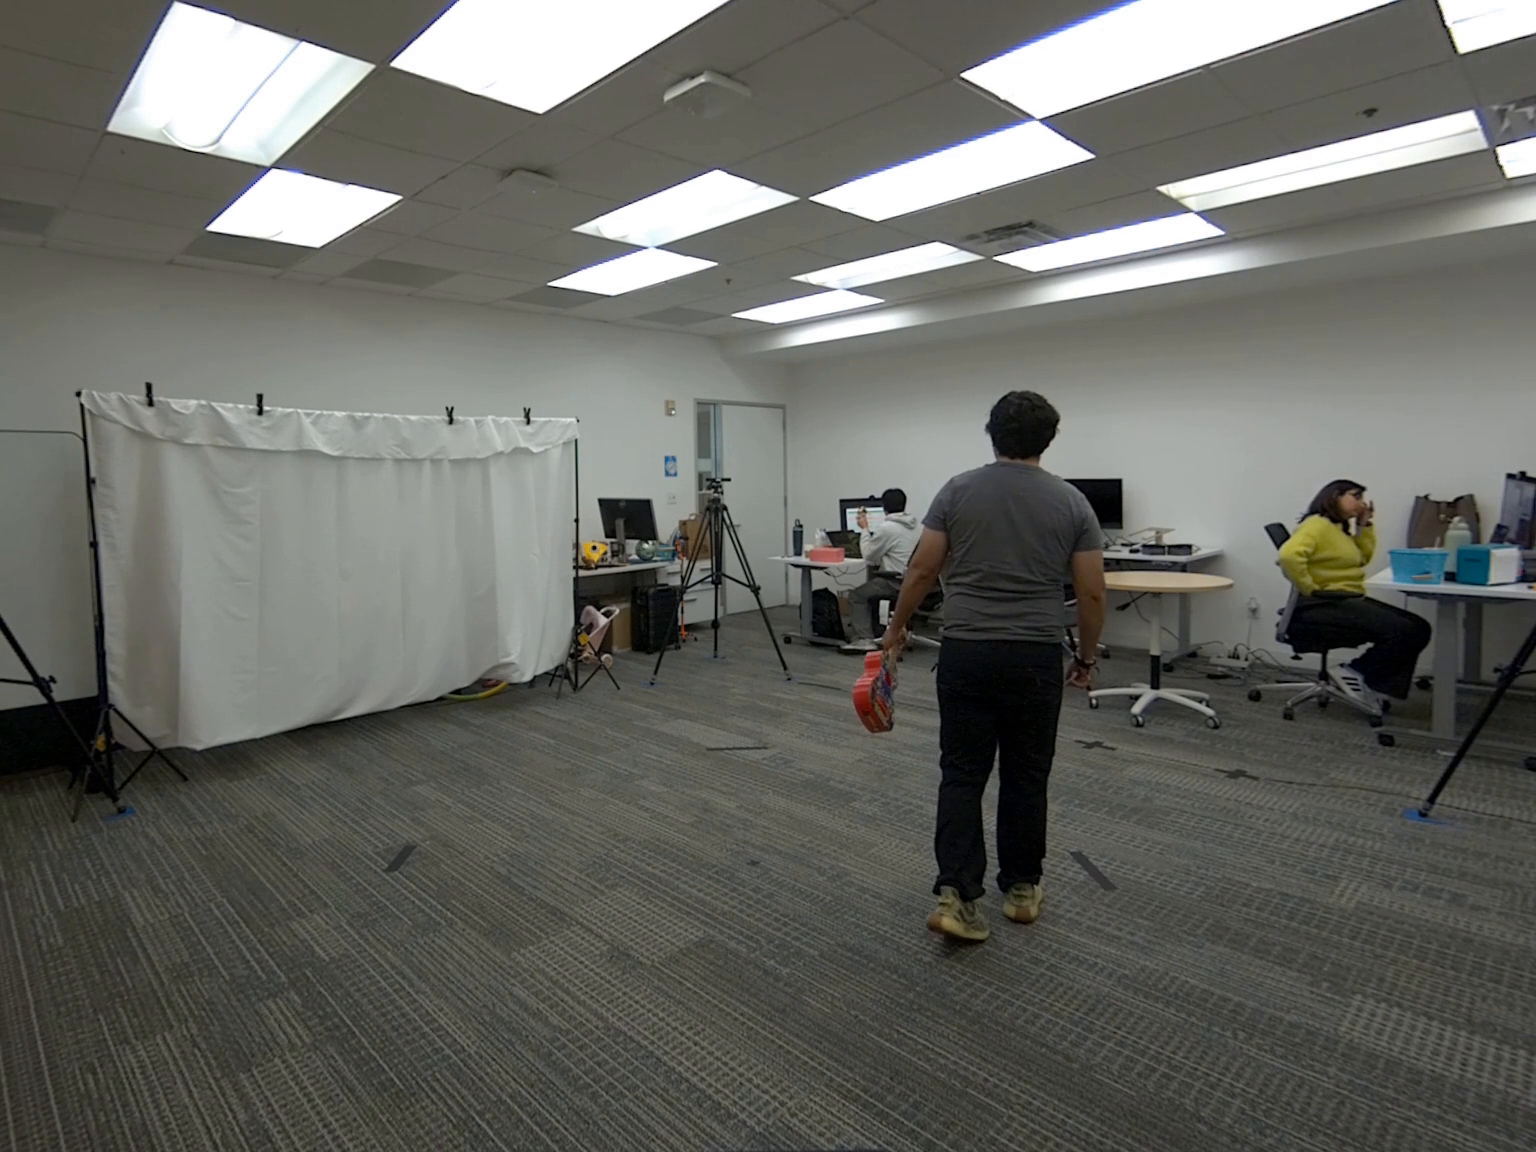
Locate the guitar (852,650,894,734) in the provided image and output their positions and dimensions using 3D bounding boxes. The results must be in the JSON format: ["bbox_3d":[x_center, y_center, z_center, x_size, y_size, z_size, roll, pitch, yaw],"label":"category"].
[{"bbox_3d":[0.407,0.321,2.892,0.072,0.188,0.501,-13,27,29],"label":"guitar"}]
